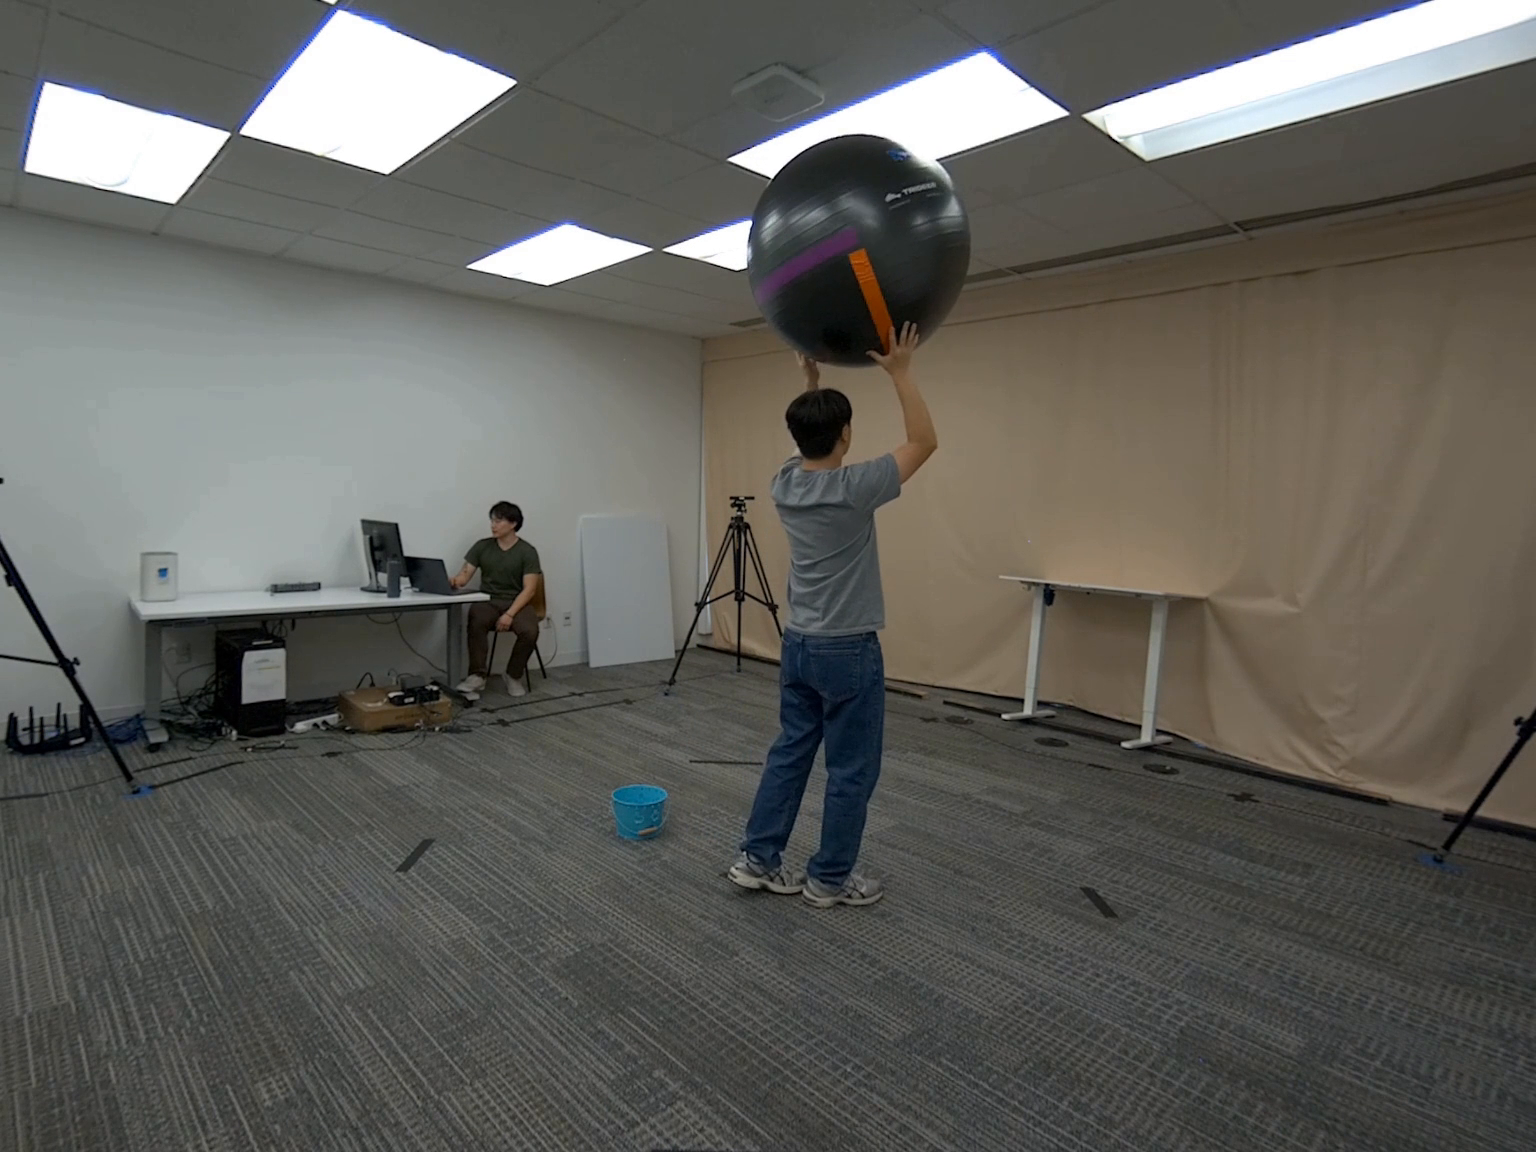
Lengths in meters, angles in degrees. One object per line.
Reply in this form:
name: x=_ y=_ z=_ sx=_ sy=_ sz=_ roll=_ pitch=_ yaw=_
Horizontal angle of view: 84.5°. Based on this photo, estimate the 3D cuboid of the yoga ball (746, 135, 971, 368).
yoga ball: x=0.298 y=-1.090 z=2.886 sx=0.757 sy=0.756 sz=0.761 roll=1 pitch=4 yaw=-1
